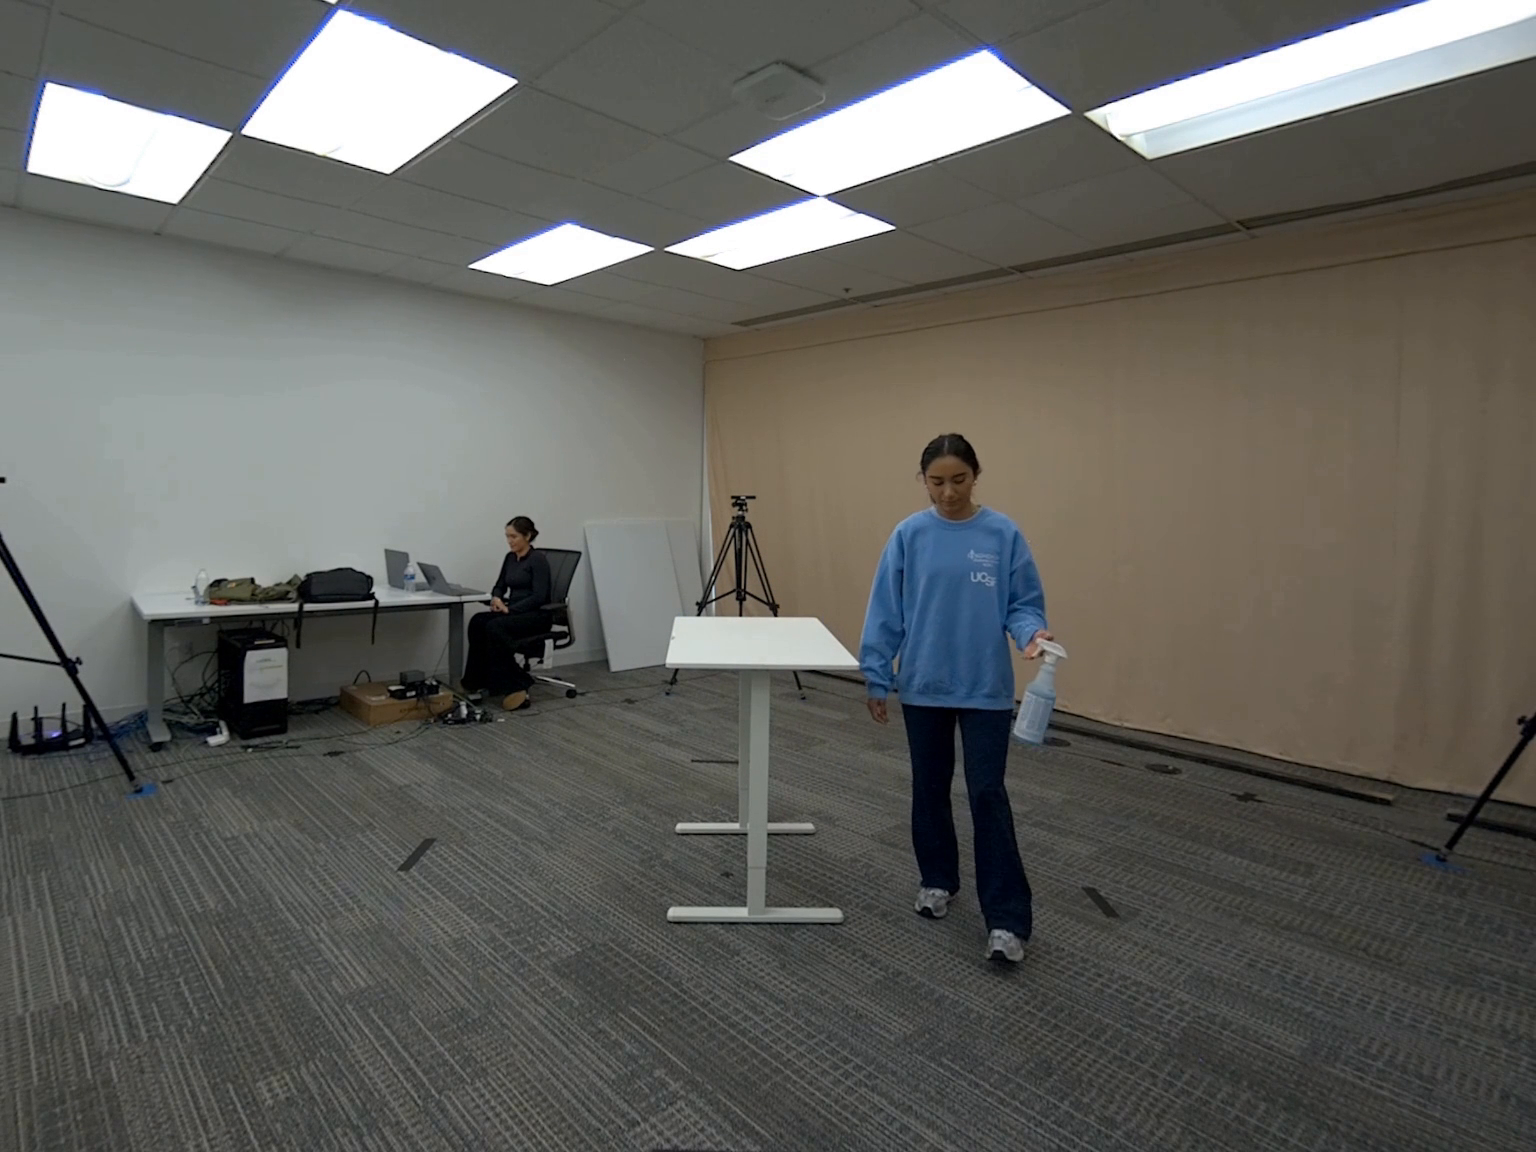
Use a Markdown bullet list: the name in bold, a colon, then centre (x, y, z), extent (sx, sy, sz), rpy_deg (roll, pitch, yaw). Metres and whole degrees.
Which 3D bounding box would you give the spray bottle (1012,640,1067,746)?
- **spray bottle**: centre (0.767, 0.335, 2.400), extent (0.092, 0.296, 0.085), rpy_deg (18, 10, 39)
